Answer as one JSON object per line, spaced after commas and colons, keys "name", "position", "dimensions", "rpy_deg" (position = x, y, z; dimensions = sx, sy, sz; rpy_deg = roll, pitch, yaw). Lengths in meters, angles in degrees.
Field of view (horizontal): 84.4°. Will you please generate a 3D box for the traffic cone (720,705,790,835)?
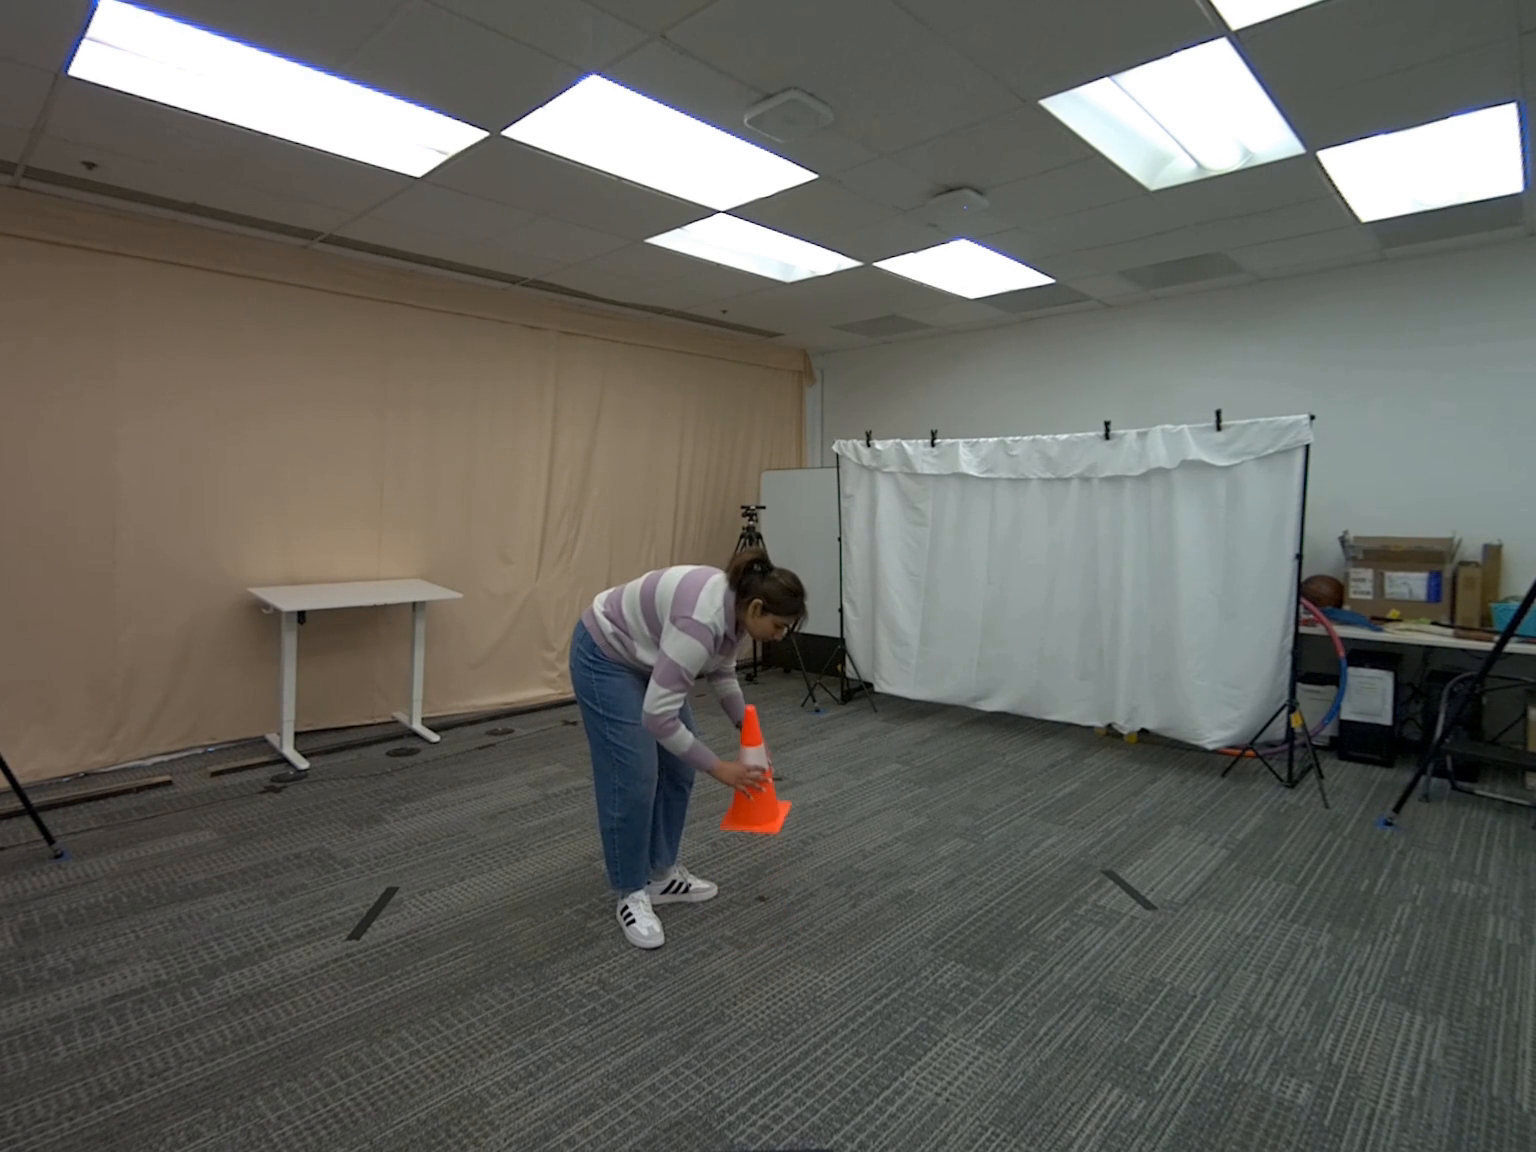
{"name": "traffic cone", "position": [-0.054, 0.606, 2.713], "dimensions": [0.209, 0.381, 0.201], "rpy_deg": [0, 10, 17]}
